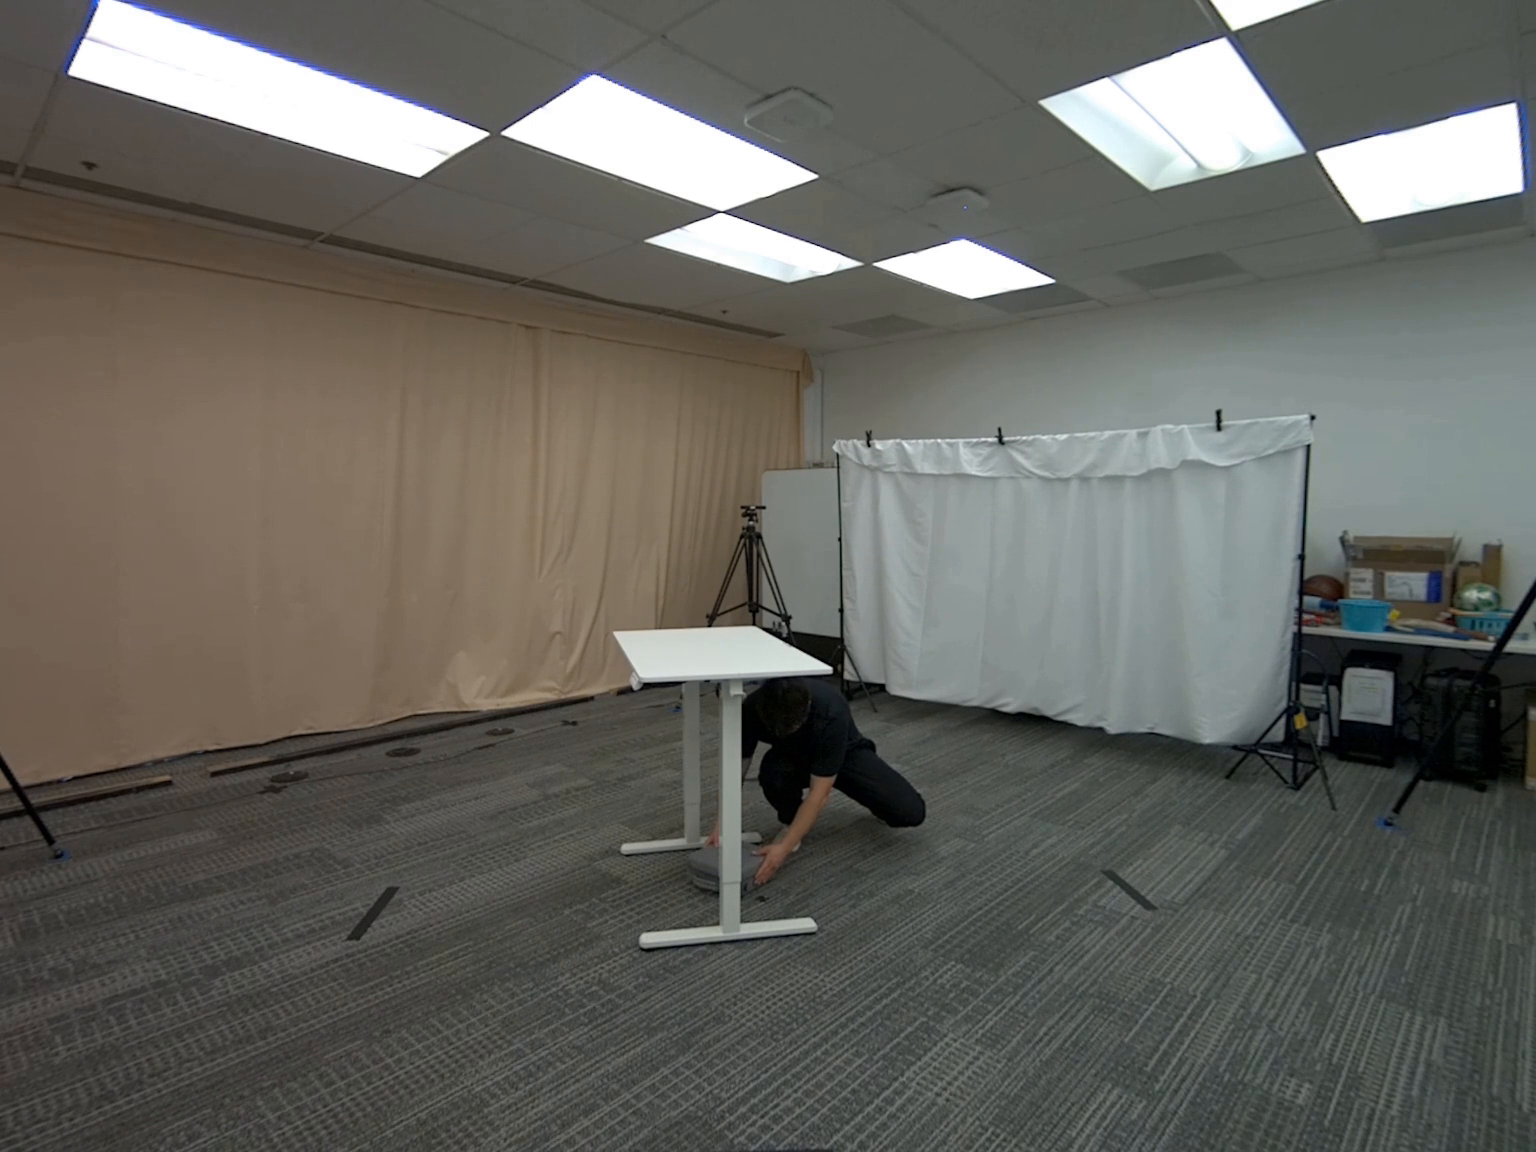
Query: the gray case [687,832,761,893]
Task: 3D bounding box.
[{"bbox_3d":[-0.137,1.074,3.127,0.265,0.104,0.253,6,9,38],"label":"gray case"}]
